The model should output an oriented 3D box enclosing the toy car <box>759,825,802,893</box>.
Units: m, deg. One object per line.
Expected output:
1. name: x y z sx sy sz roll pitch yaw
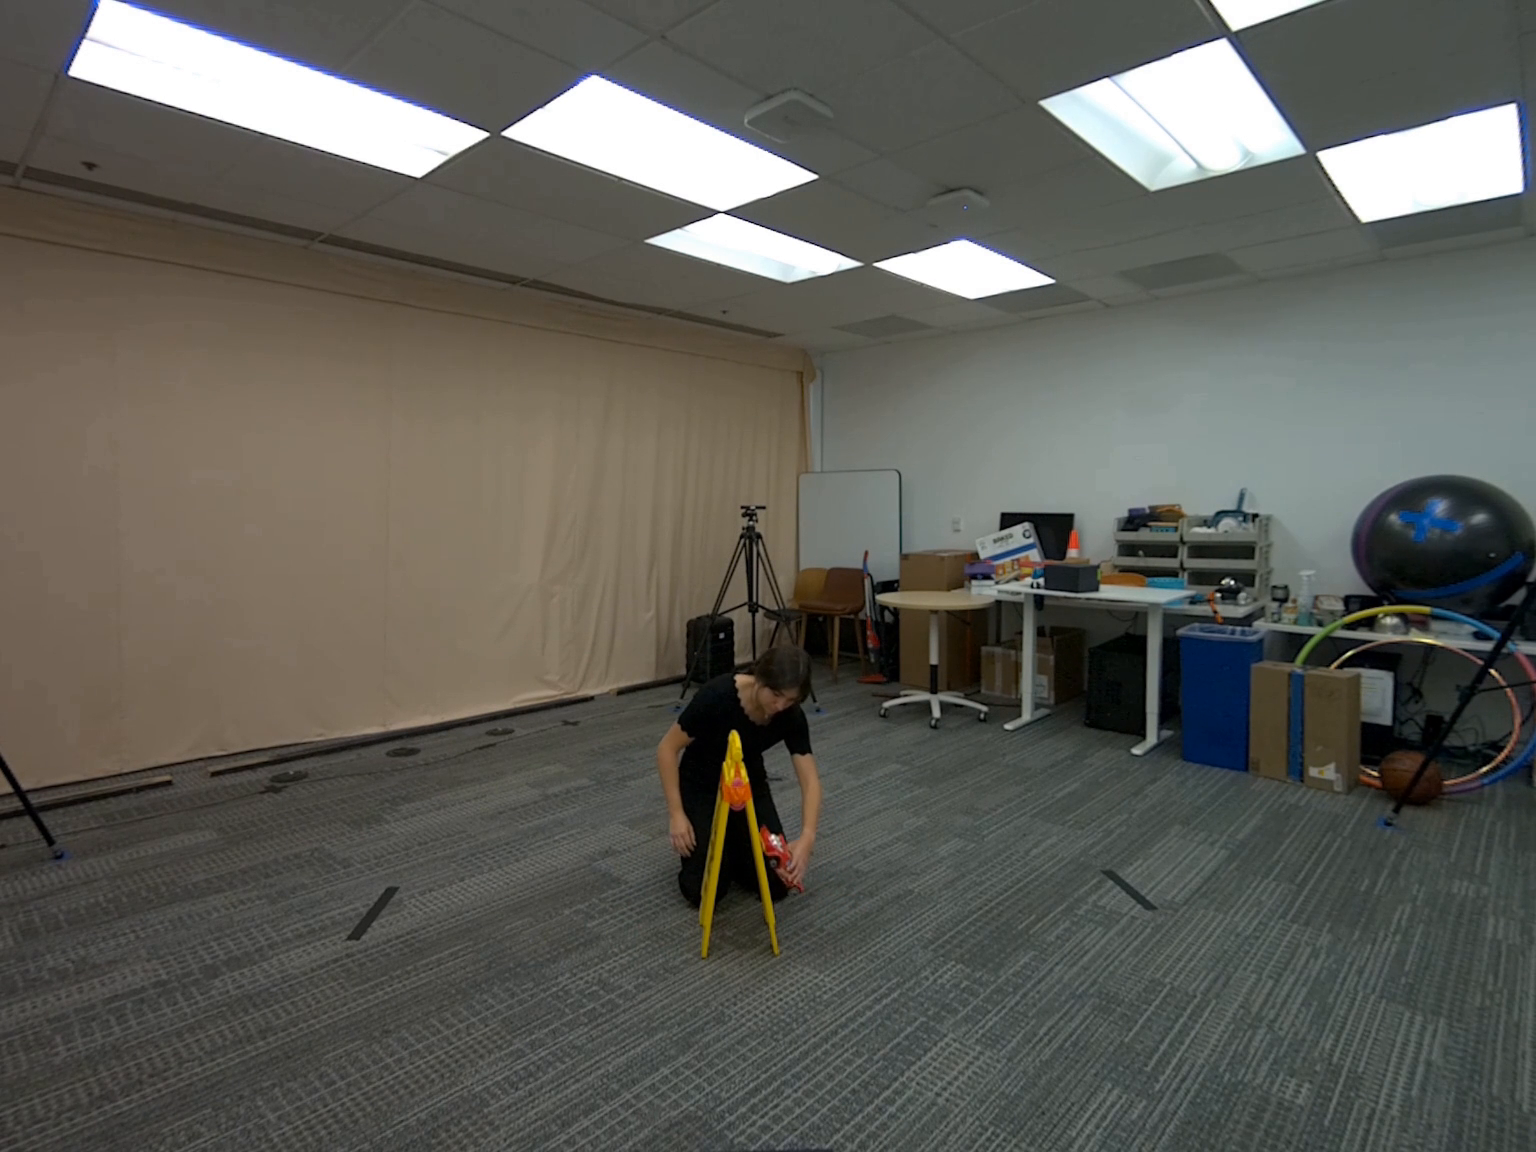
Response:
1. toy car: 0.041 0.923 2.723 0.083 0.250 0.133 -19 19 -7
